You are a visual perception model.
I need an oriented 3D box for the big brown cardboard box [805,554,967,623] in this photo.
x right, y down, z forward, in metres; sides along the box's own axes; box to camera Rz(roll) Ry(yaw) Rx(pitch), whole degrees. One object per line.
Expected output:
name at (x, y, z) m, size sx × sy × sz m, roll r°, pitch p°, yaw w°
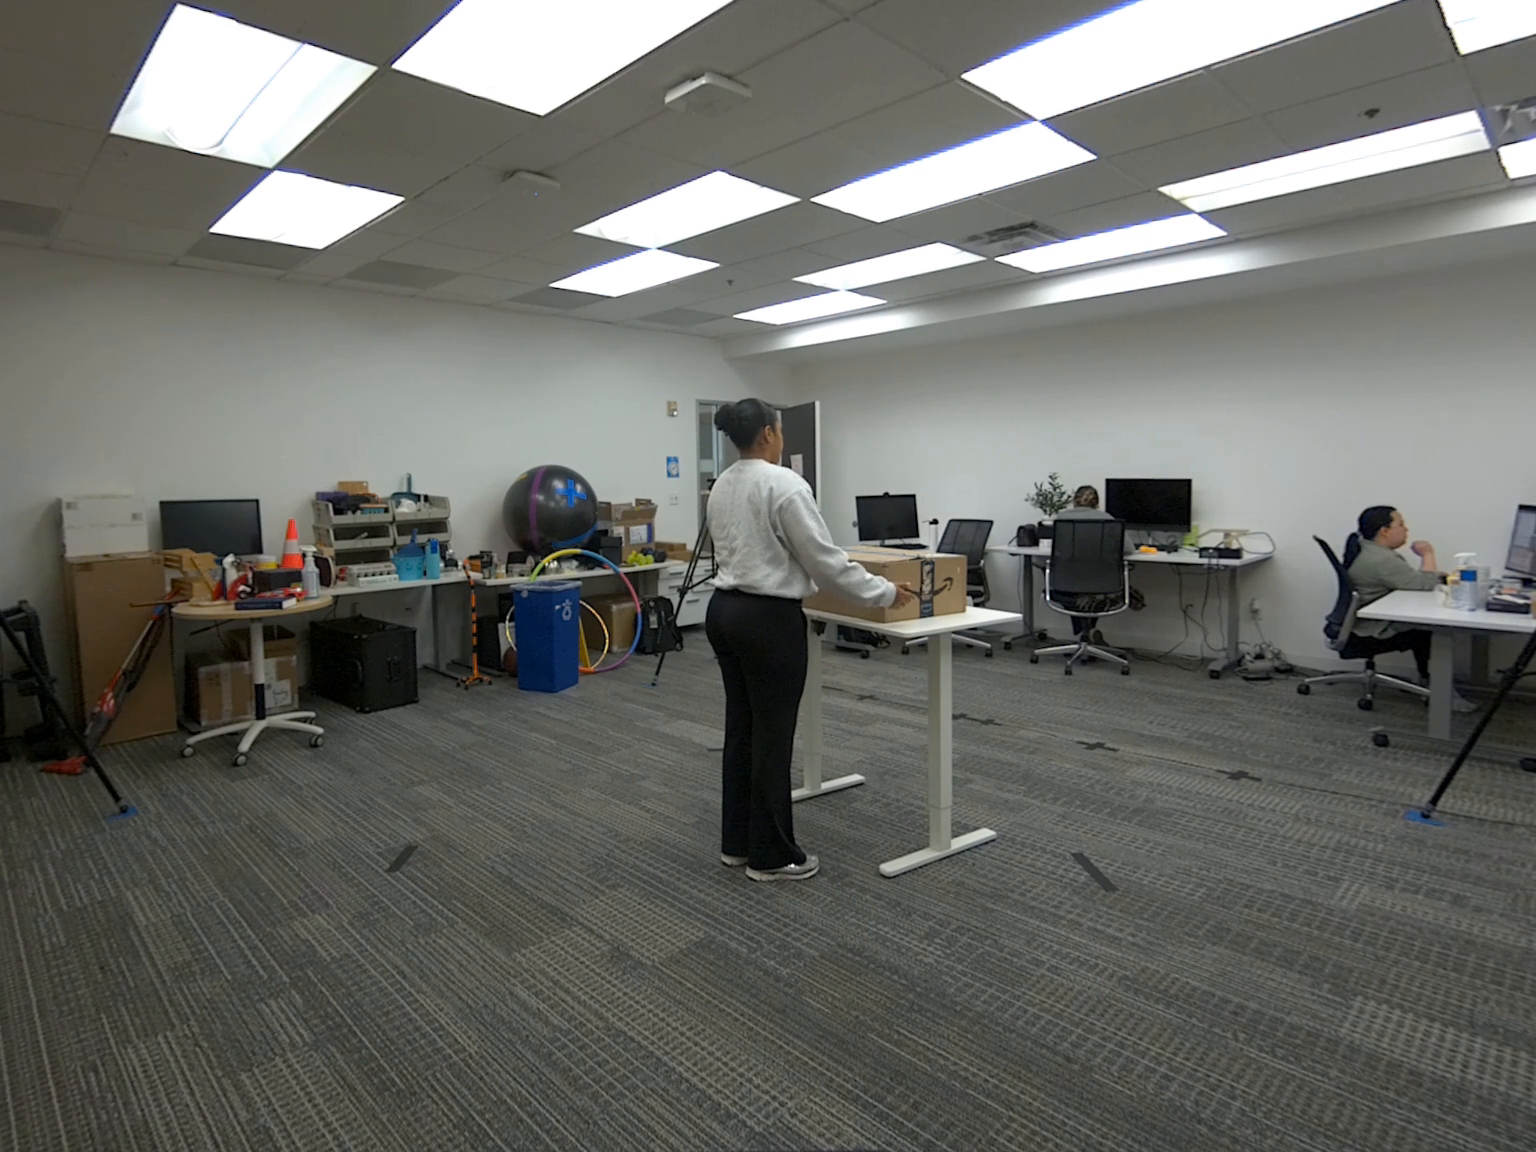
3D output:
big brown cardboard box at (0.420, 0.019, 3.345) m, size 0.407 × 0.232 × 0.606 m, roll -5°, pitch 7°, yaw -34°
